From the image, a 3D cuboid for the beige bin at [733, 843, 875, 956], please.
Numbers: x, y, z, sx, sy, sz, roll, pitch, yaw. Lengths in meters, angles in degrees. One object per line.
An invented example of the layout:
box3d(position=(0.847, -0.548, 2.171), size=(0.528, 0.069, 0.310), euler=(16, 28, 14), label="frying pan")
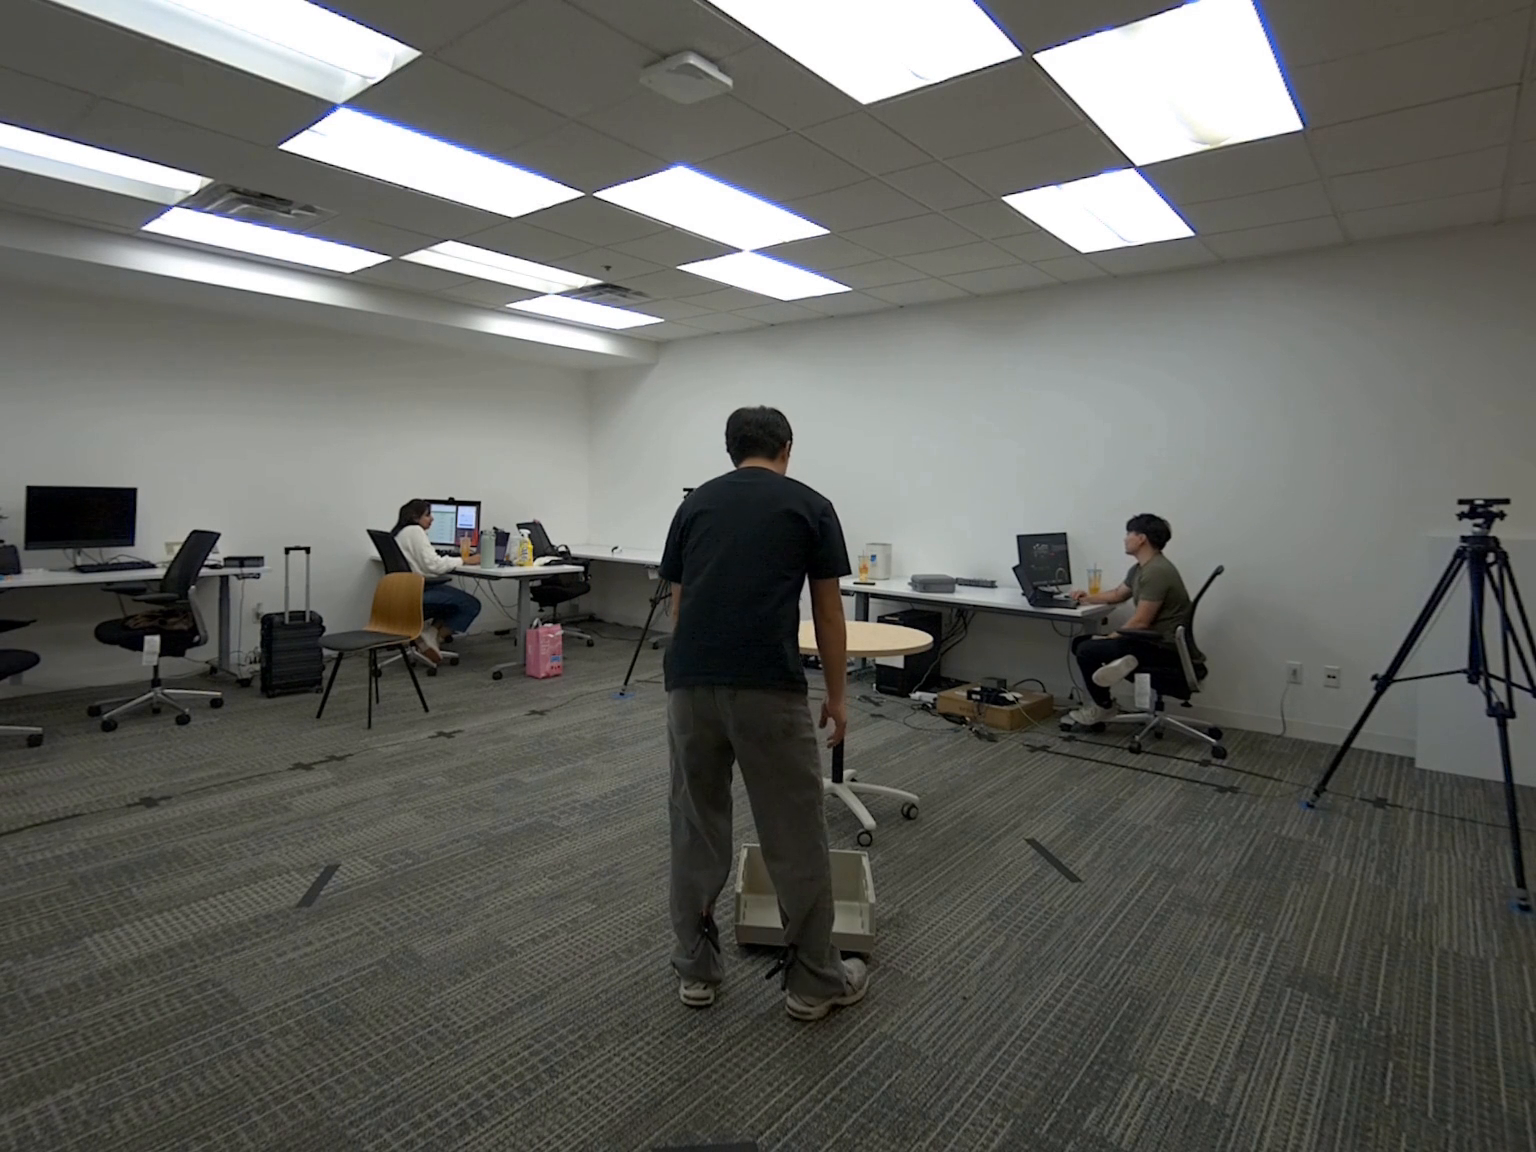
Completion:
box3d(position=(0.108, 1.024, 2.697), size=(0.425, 0.188, 0.376), euler=(1, 4, 4), label="beige bin")
